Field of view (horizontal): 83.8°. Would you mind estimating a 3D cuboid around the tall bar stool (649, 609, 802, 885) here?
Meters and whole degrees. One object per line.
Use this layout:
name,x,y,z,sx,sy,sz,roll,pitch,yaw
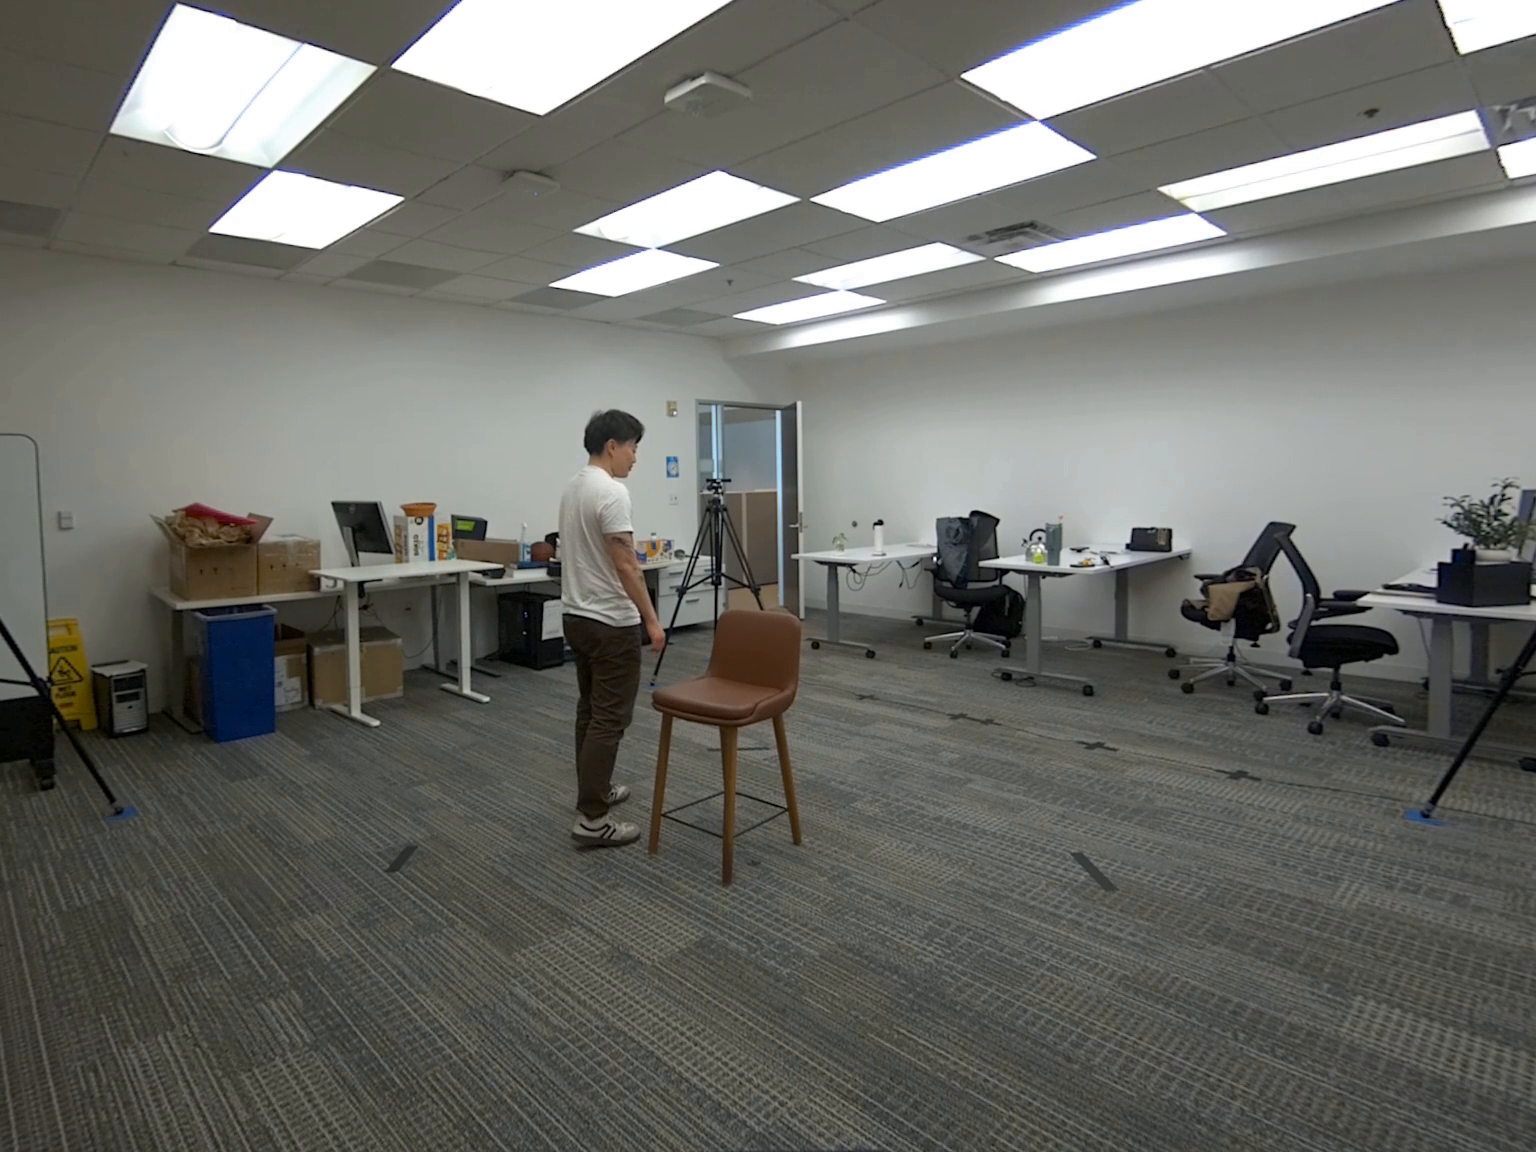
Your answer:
tall bar stool,-0.155,0.599,3.209,0.470,0.888,0.455,3,4,41
